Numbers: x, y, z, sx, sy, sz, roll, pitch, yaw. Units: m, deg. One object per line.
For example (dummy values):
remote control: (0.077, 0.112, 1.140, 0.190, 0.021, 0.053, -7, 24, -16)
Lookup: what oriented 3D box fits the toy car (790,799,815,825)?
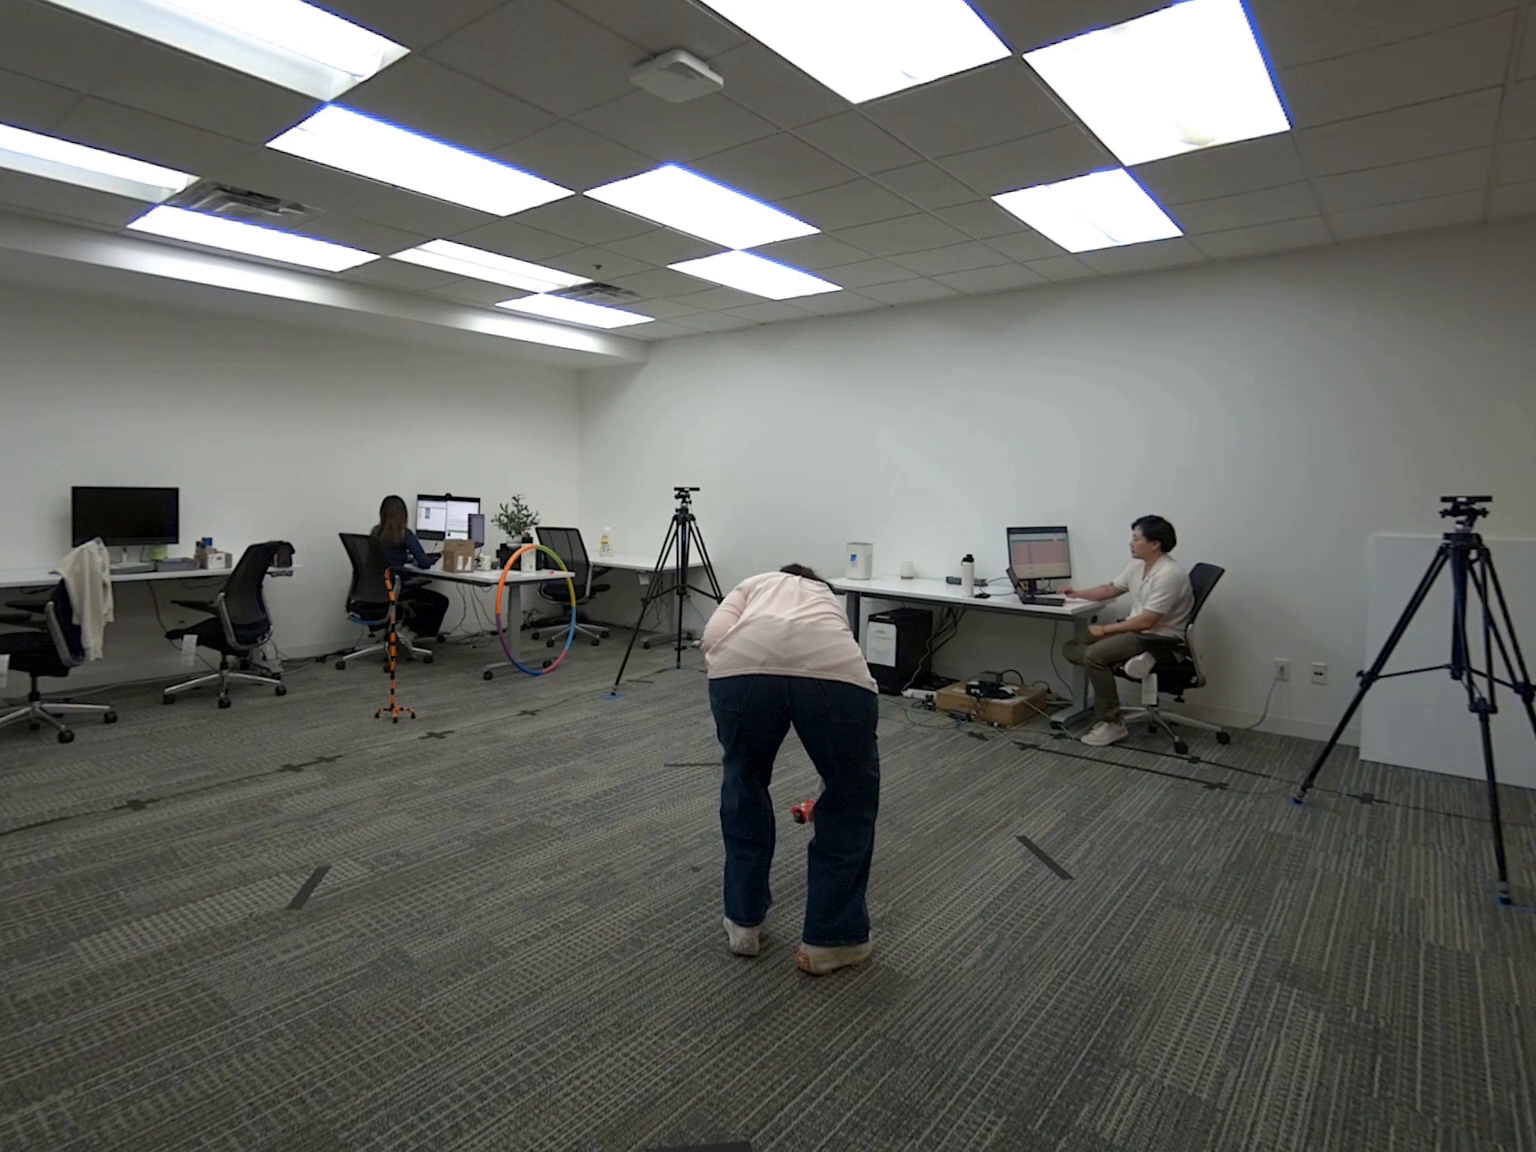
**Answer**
toy car: (0.180, 0.856, 3.044, 0.126, 0.083, 0.263, 15, -2, -32)
